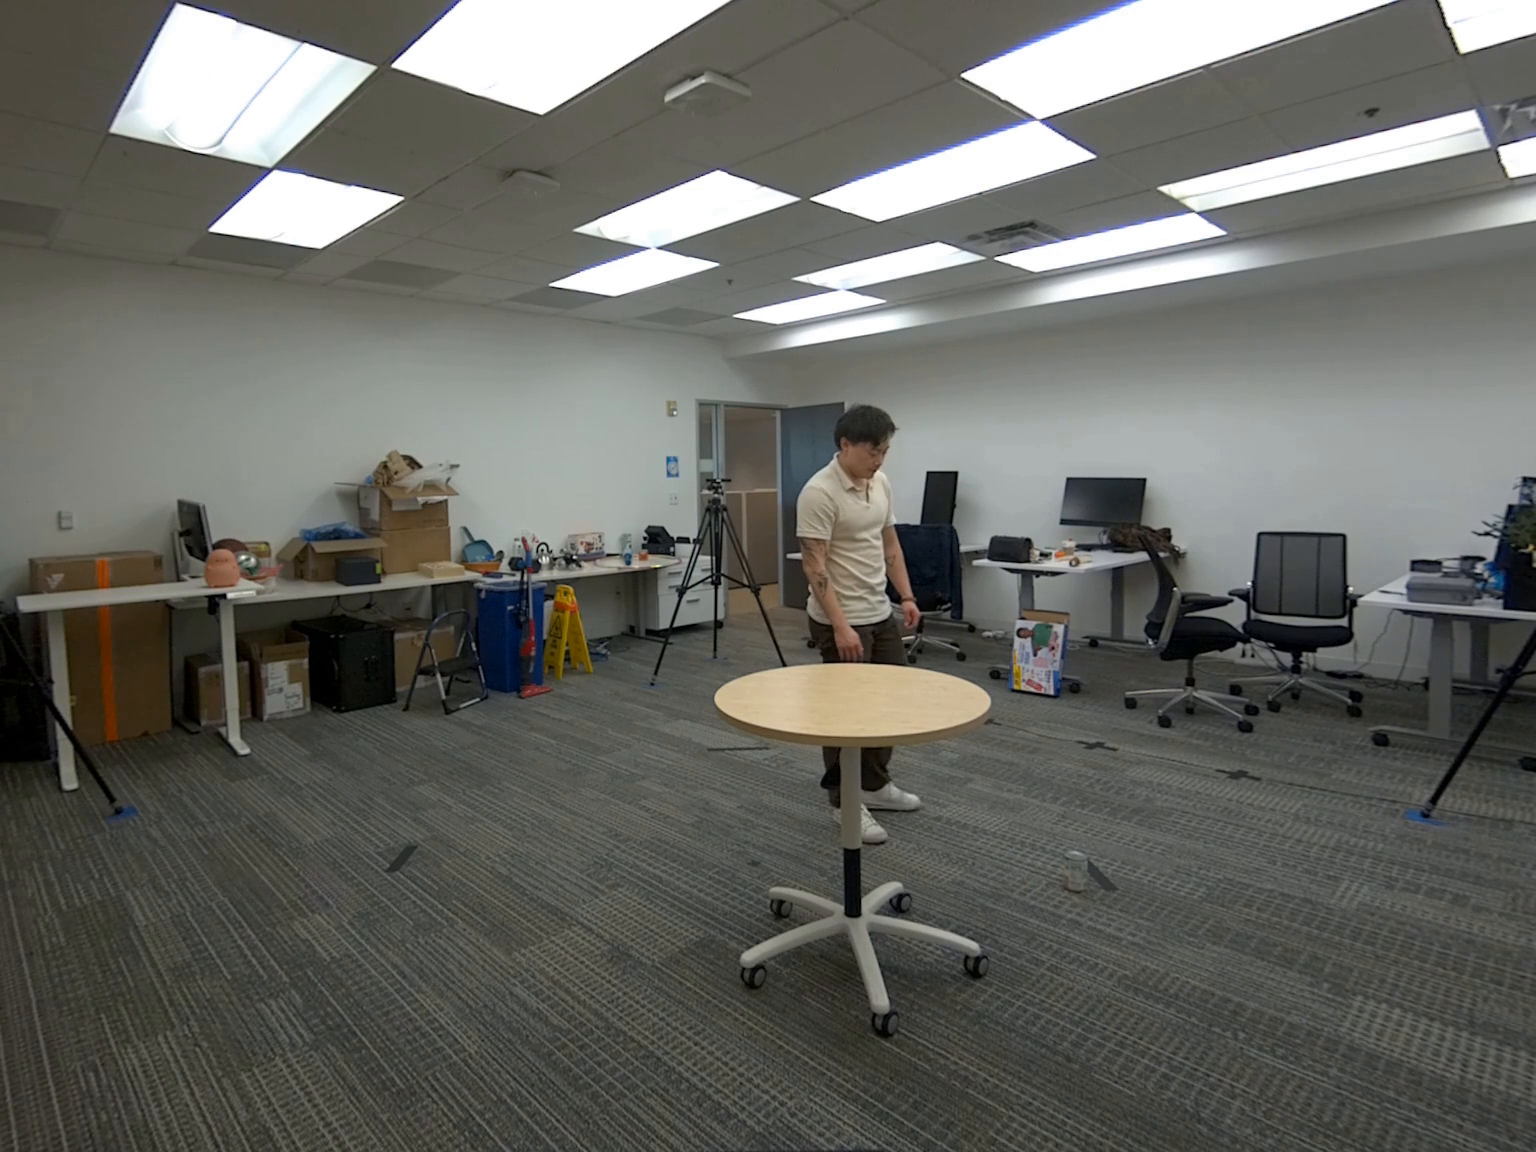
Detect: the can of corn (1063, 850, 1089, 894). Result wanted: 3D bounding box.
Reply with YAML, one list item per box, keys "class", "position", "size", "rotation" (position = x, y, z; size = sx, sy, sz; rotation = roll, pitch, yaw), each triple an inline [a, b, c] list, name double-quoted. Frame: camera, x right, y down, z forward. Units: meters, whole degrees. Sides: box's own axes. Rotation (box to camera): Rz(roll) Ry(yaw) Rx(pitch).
- class: "can of corn"
  position: [1.038, 0.996, 2.875]
  size: [0.074, 0.111, 0.074]
  rotation: [1, 3, -2]
